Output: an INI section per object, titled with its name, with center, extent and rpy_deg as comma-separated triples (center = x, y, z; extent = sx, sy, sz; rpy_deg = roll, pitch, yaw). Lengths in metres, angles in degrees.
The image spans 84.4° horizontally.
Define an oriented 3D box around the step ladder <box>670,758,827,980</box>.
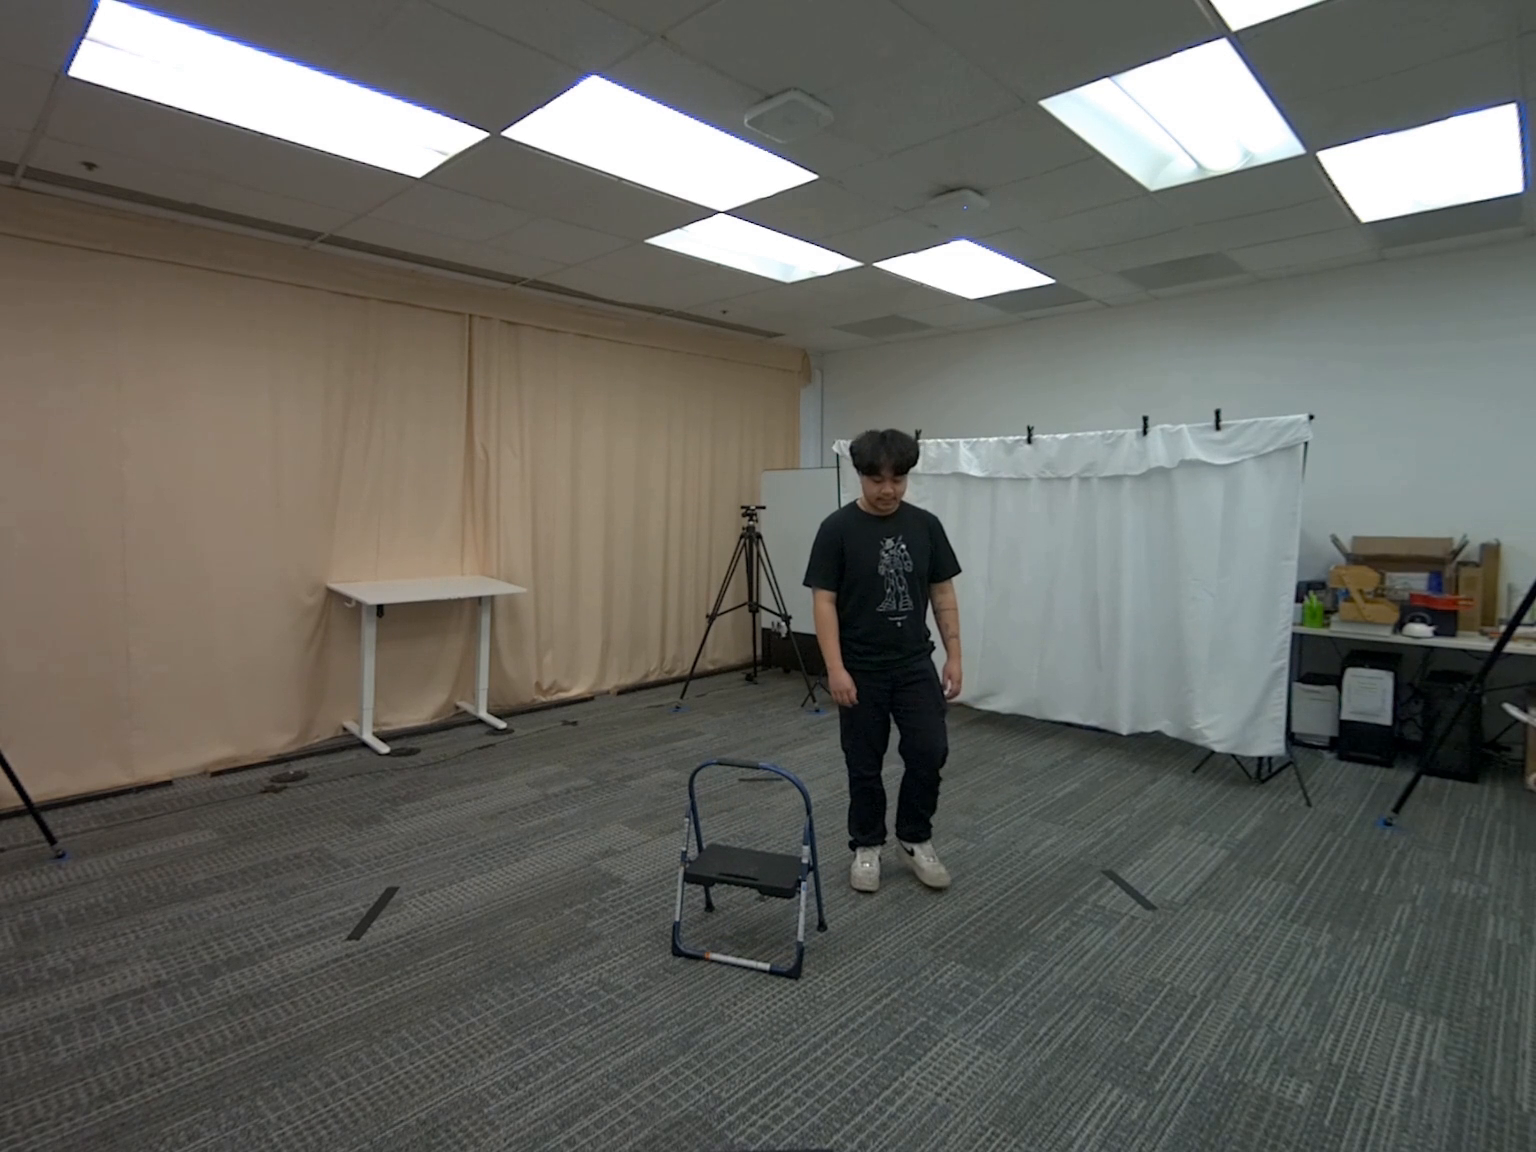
[step ladder]
center = -0.053, 0.866, 2.681
extent = 0.439, 0.605, 0.343
rpy_deg = 1, 3, 18
